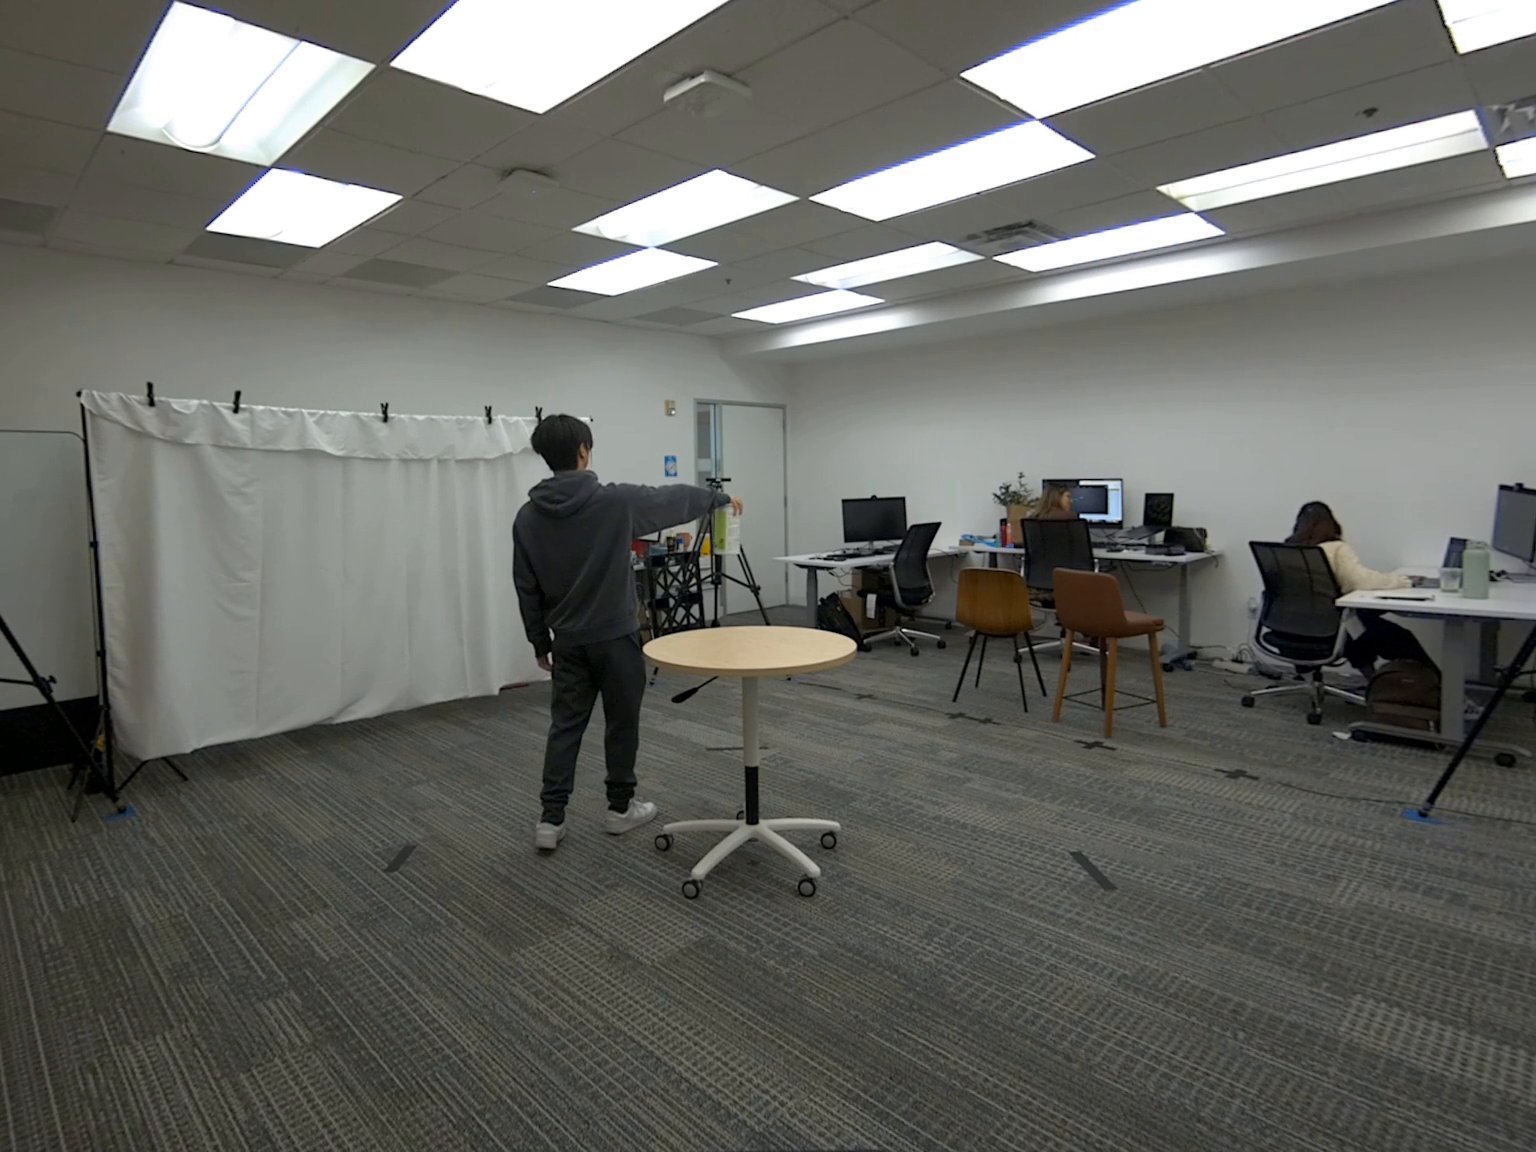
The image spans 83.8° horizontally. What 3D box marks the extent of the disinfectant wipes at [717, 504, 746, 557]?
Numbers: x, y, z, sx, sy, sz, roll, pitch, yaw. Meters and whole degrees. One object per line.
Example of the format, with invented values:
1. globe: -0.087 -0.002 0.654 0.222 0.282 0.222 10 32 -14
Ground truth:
1. disinfectant wipes: -0.160 -0.201 3.691 0.118 0.217 0.118 1 4 -2
